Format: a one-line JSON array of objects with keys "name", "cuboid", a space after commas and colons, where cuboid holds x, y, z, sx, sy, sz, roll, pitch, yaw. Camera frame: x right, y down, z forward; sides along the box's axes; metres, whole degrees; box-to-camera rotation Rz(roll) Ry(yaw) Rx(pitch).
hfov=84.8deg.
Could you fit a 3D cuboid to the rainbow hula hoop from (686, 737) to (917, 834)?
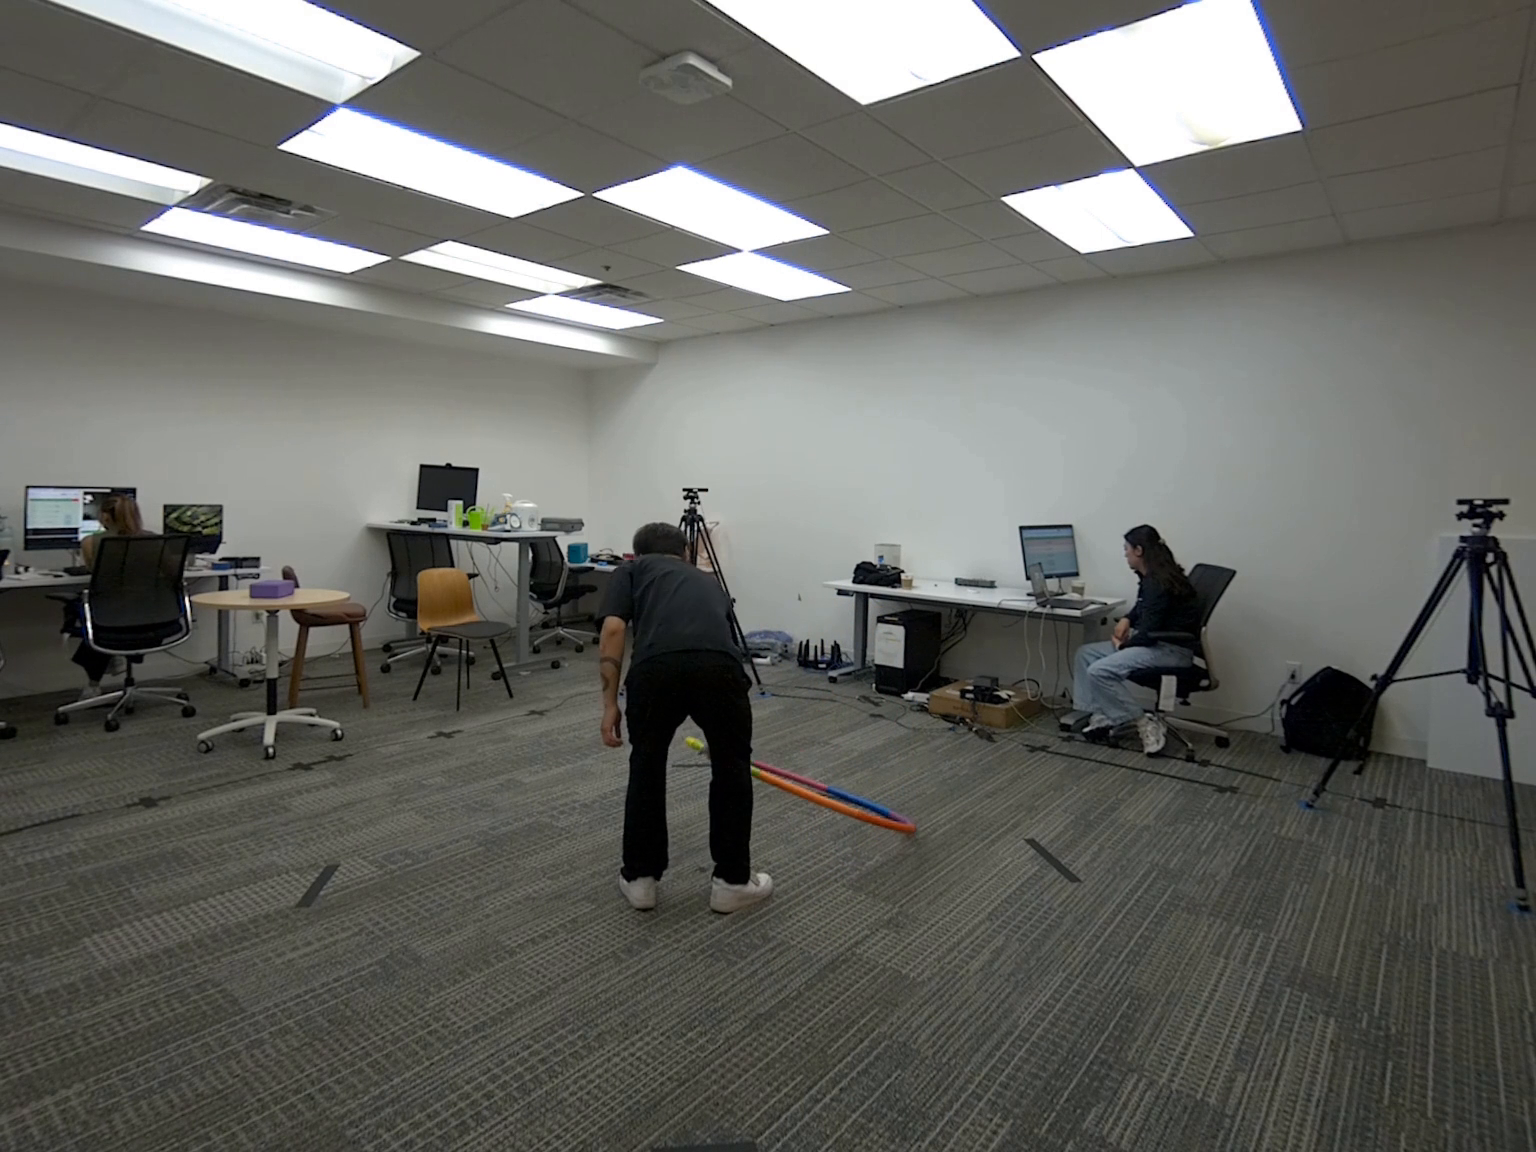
[{"name": "rainbow hula hoop", "cuboid": [0.114, 0.836, 3.483, 0.983, 0.036, 0.970, 20, -9, 2]}]
